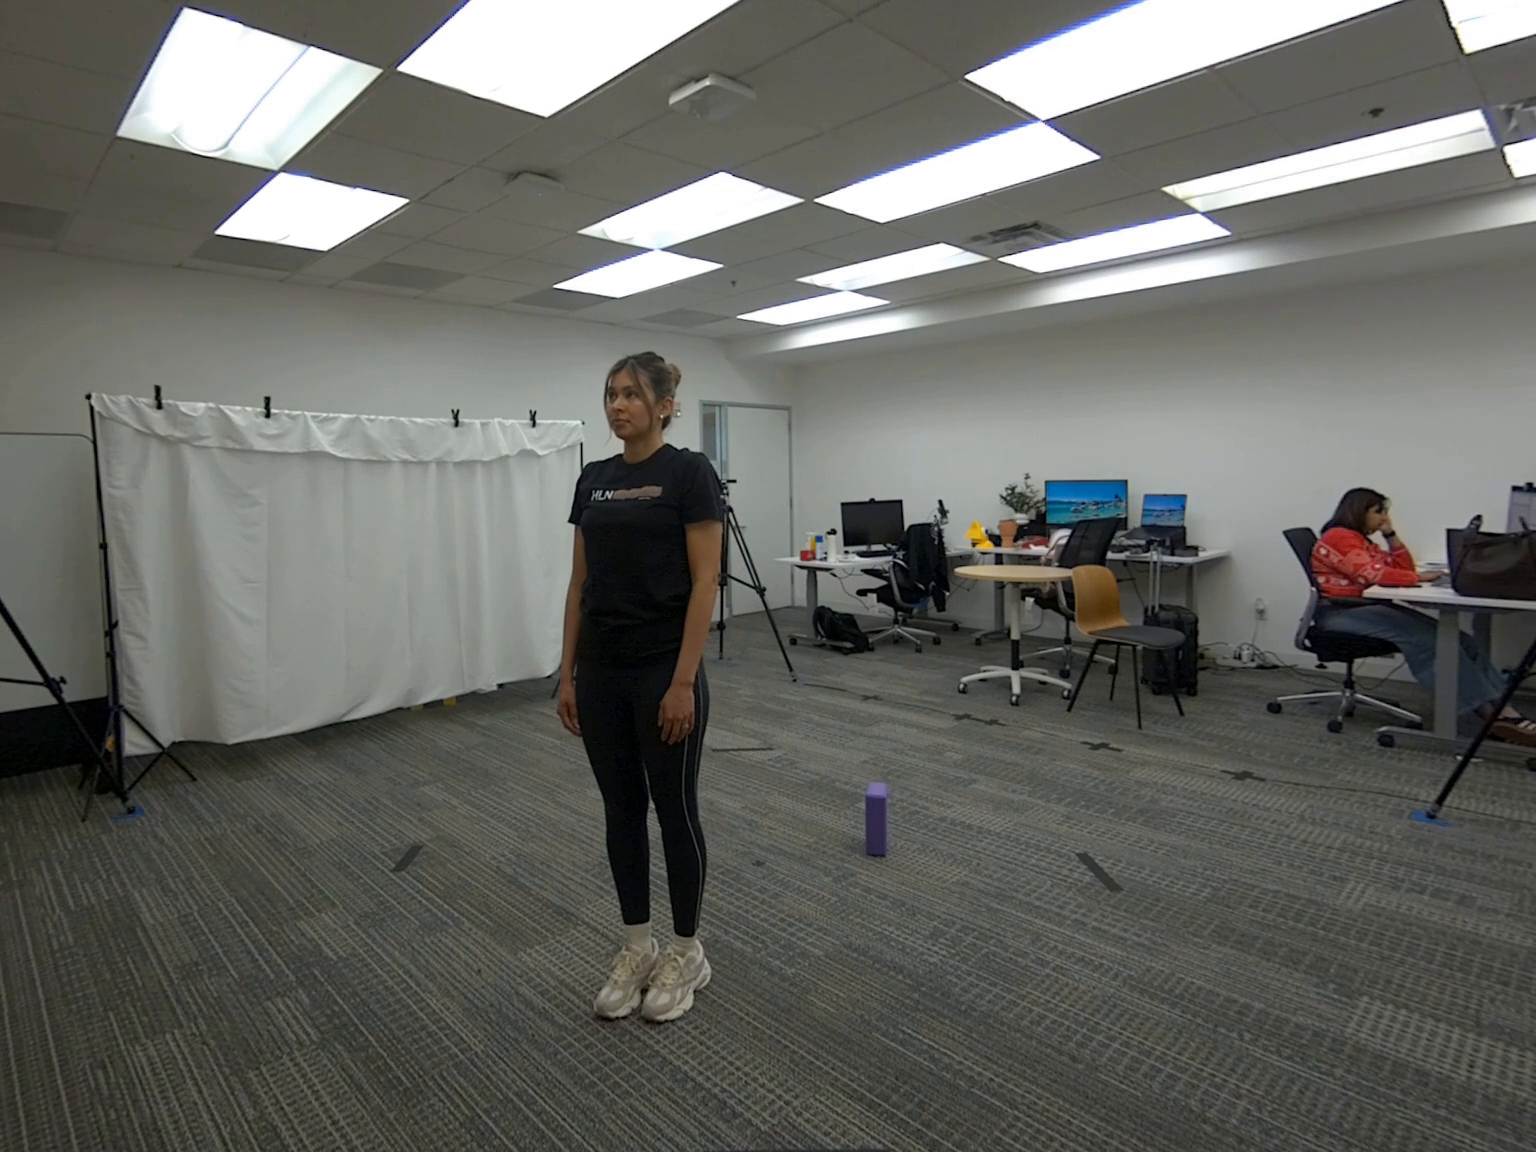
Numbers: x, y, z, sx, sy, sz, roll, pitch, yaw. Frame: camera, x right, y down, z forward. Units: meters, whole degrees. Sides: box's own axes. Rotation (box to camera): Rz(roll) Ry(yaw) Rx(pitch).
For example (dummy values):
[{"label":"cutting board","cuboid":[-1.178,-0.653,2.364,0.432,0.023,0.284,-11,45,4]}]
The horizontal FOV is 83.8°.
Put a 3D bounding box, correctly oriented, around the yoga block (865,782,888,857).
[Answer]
[{"label":"yoga block","cuboid":[0.414,0.914,3.211,0.077,0.229,0.148,0,3,10]}]
